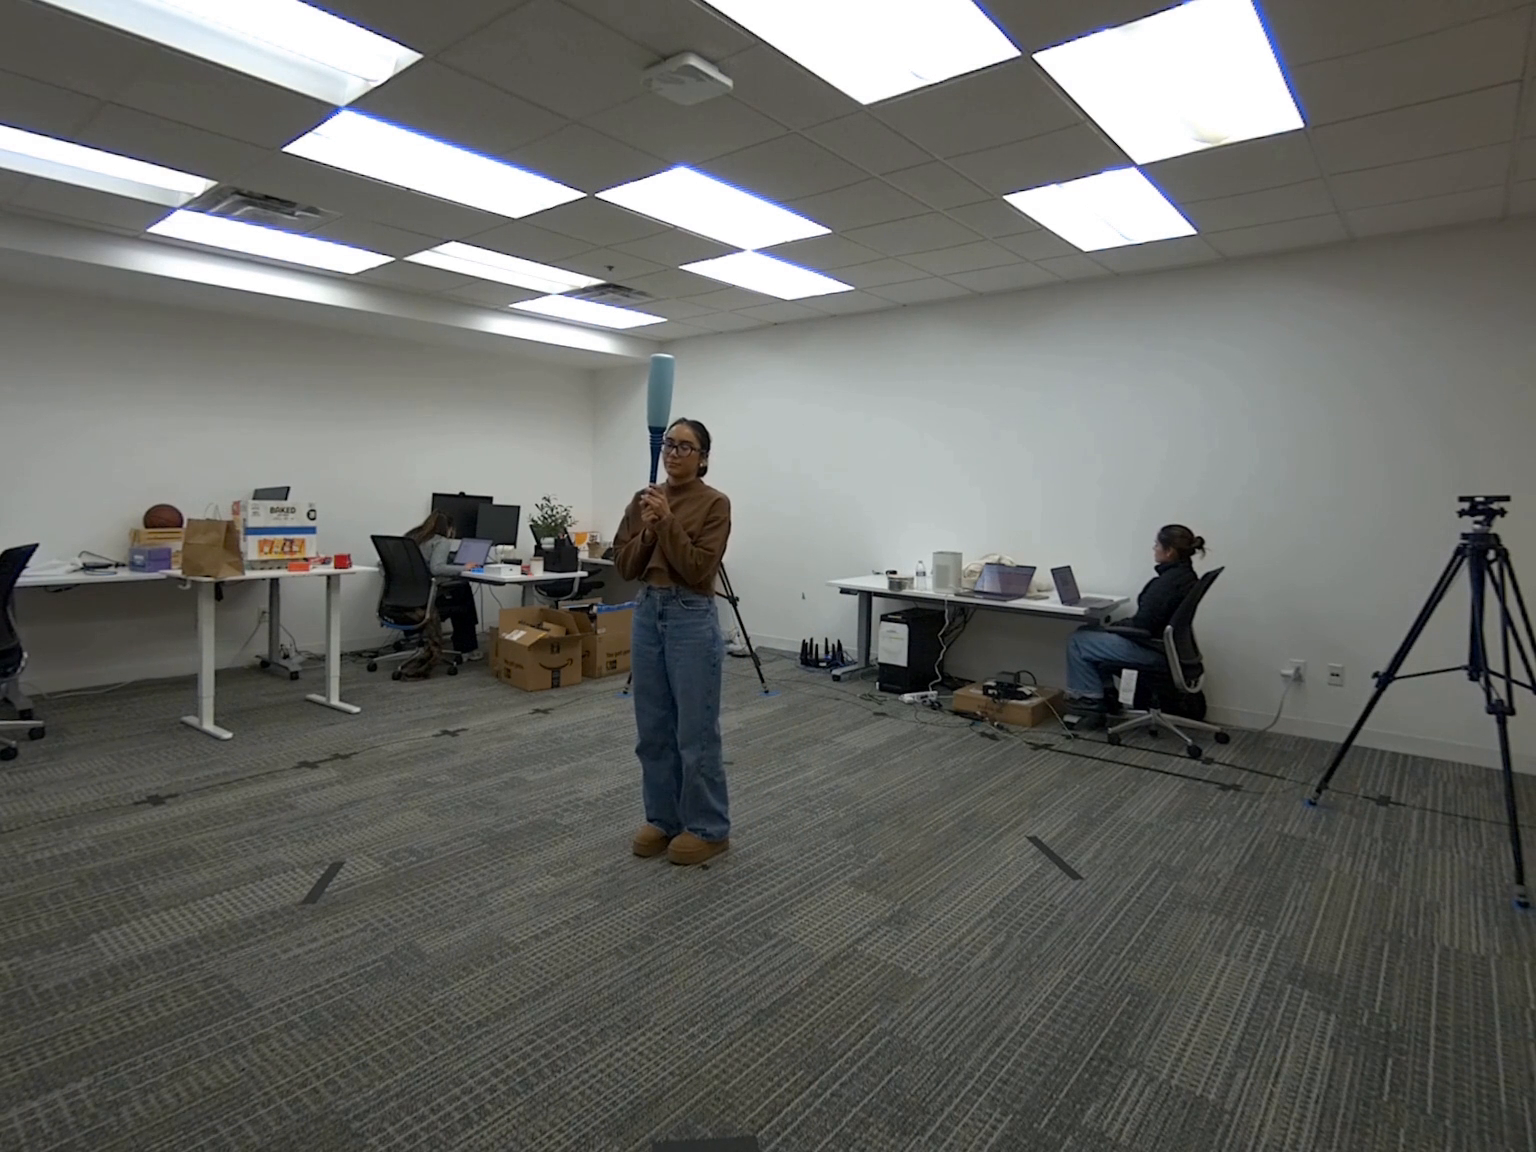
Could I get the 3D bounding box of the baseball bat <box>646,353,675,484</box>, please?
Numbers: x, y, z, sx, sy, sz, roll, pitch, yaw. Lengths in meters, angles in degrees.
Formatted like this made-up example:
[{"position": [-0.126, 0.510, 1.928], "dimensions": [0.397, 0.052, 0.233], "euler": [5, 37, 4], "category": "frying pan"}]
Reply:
[{"position": [-0.411, -0.519, 3.032], "dimensions": [0.089, 0.537, 0.090], "euler": [6, 13, -3], "category": "baseball bat"}]
